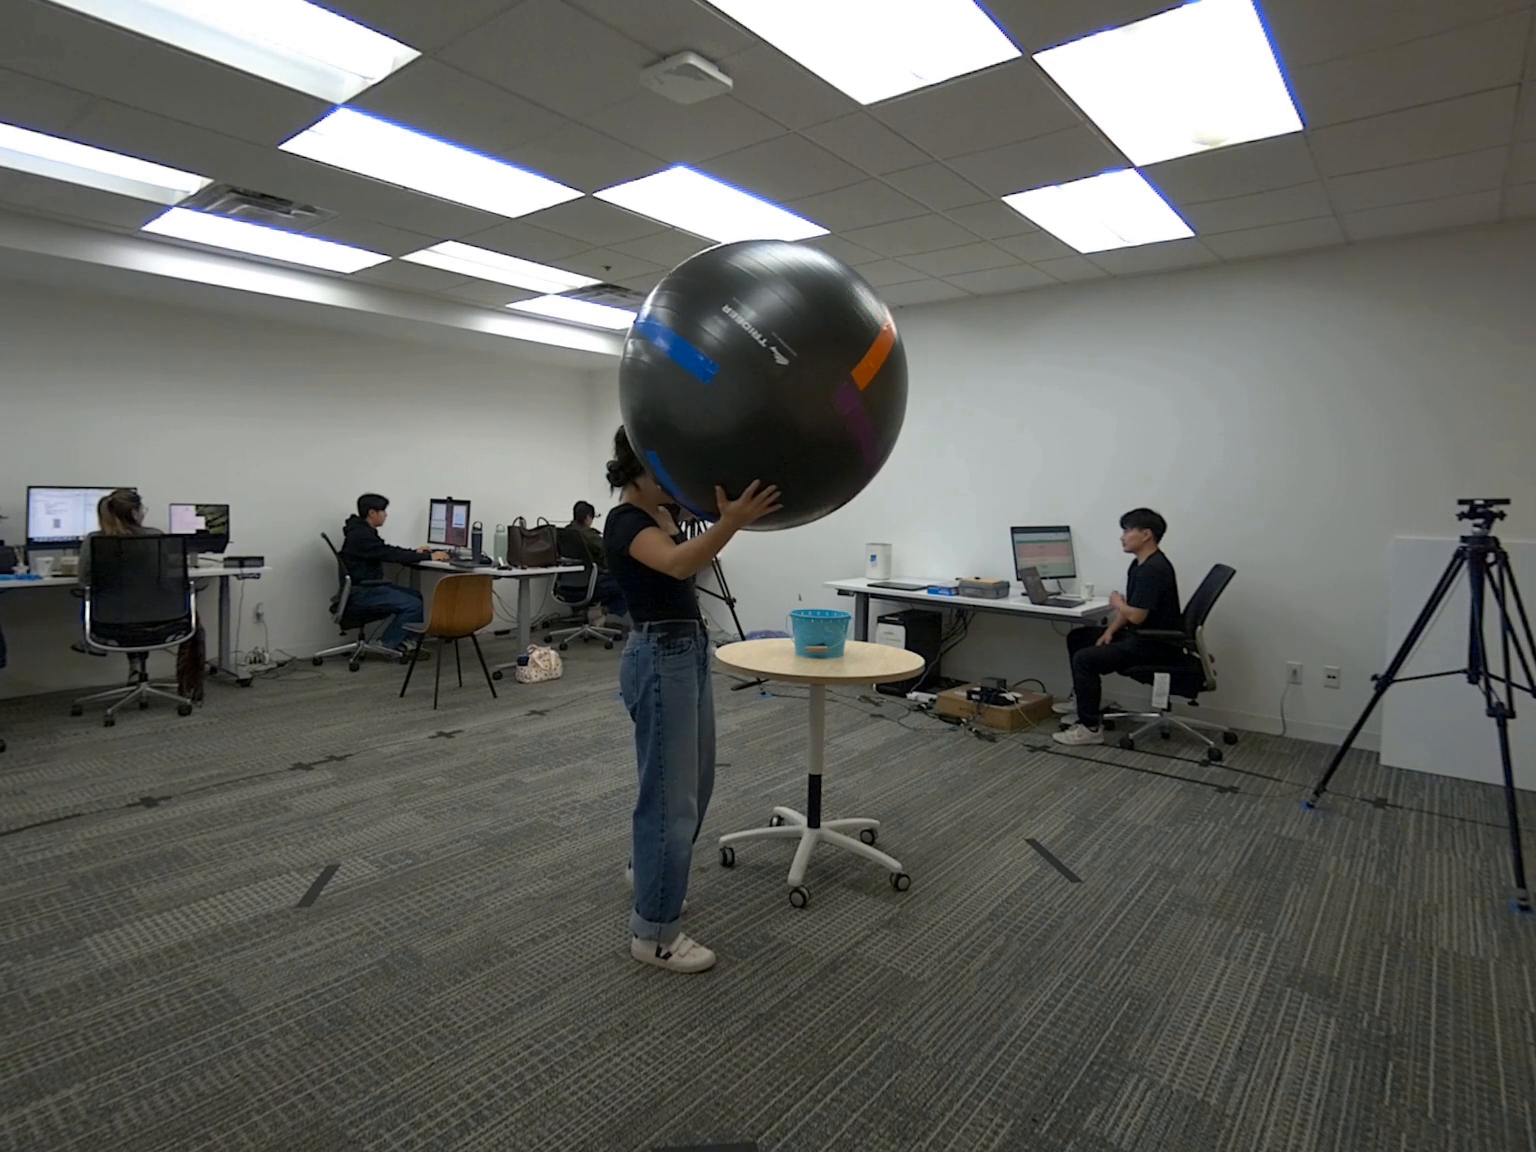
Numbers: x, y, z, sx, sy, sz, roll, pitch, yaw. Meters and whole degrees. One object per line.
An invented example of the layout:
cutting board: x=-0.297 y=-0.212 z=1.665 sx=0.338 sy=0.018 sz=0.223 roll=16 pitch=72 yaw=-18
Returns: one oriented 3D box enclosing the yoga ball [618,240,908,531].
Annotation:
yoga ball: x=-0.022 y=-0.491 z=2.252 sx=0.757 sy=0.756 sz=0.762 roll=1 pitch=4 yaw=-2
